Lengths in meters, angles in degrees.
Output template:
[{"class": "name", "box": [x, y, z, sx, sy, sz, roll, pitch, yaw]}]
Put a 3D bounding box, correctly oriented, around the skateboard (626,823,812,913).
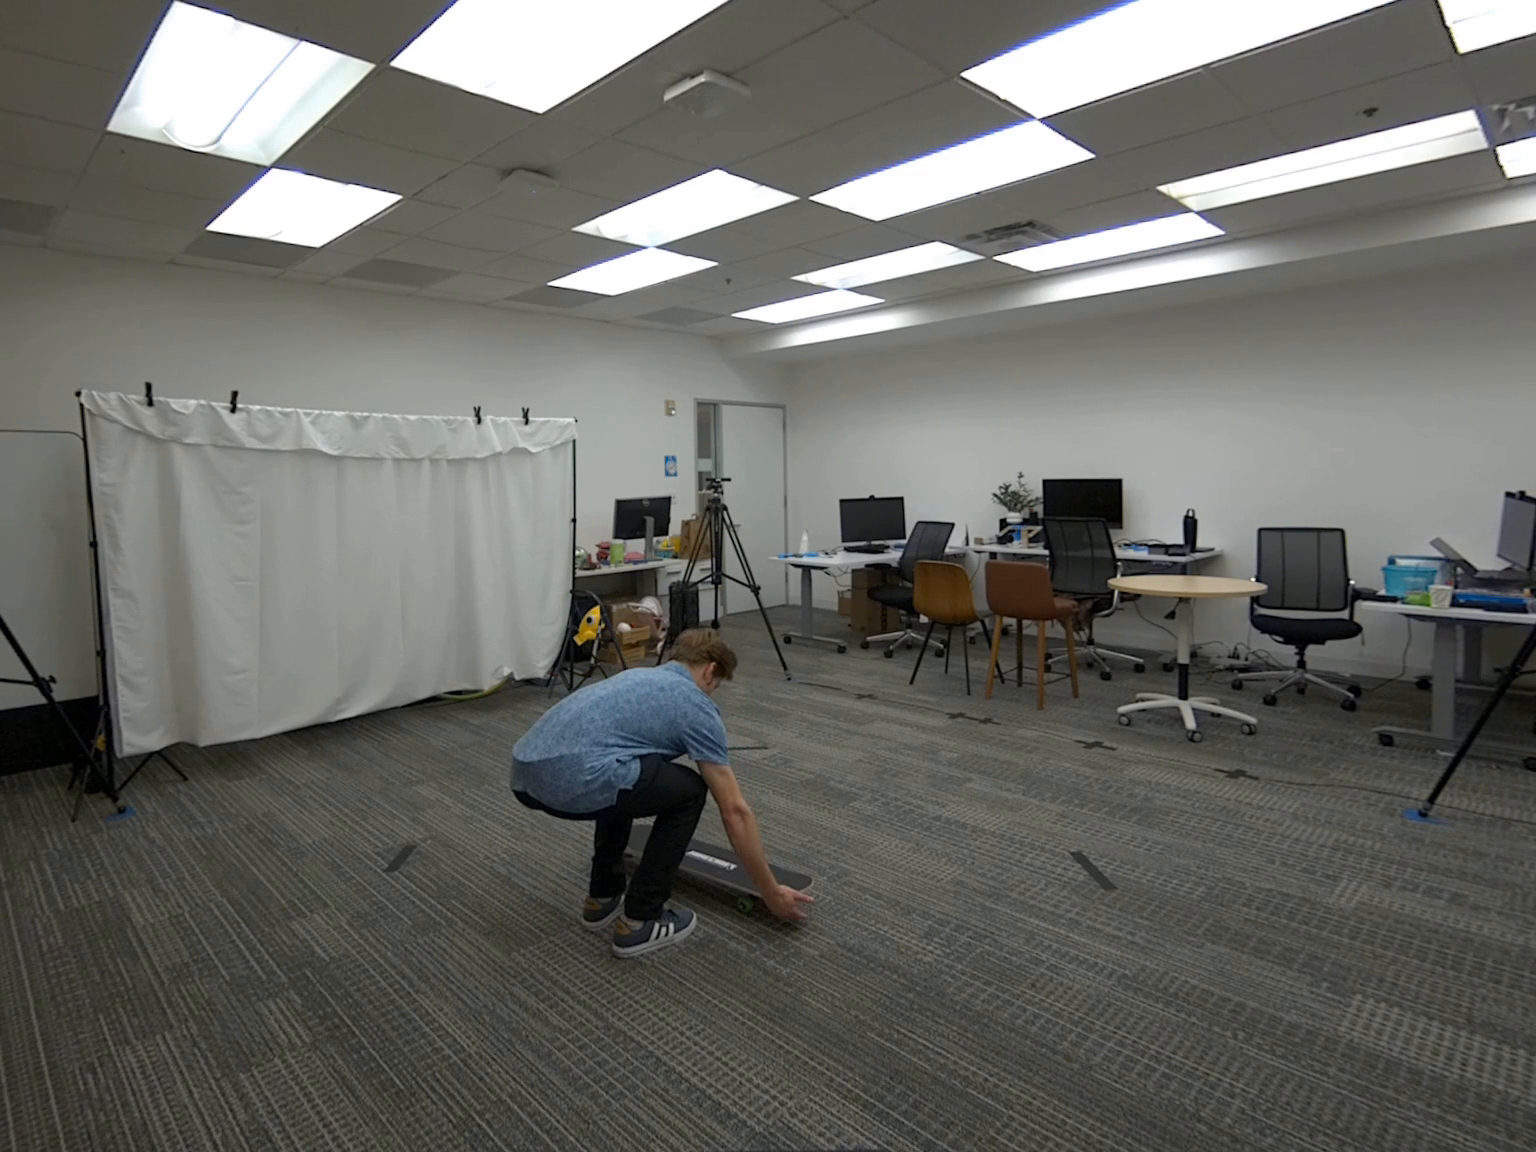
[{"class": "skateboard", "box": [-0.194, 1.006, 2.931, 0.808, 0.110, 0.189, 3, 7, 37]}]
